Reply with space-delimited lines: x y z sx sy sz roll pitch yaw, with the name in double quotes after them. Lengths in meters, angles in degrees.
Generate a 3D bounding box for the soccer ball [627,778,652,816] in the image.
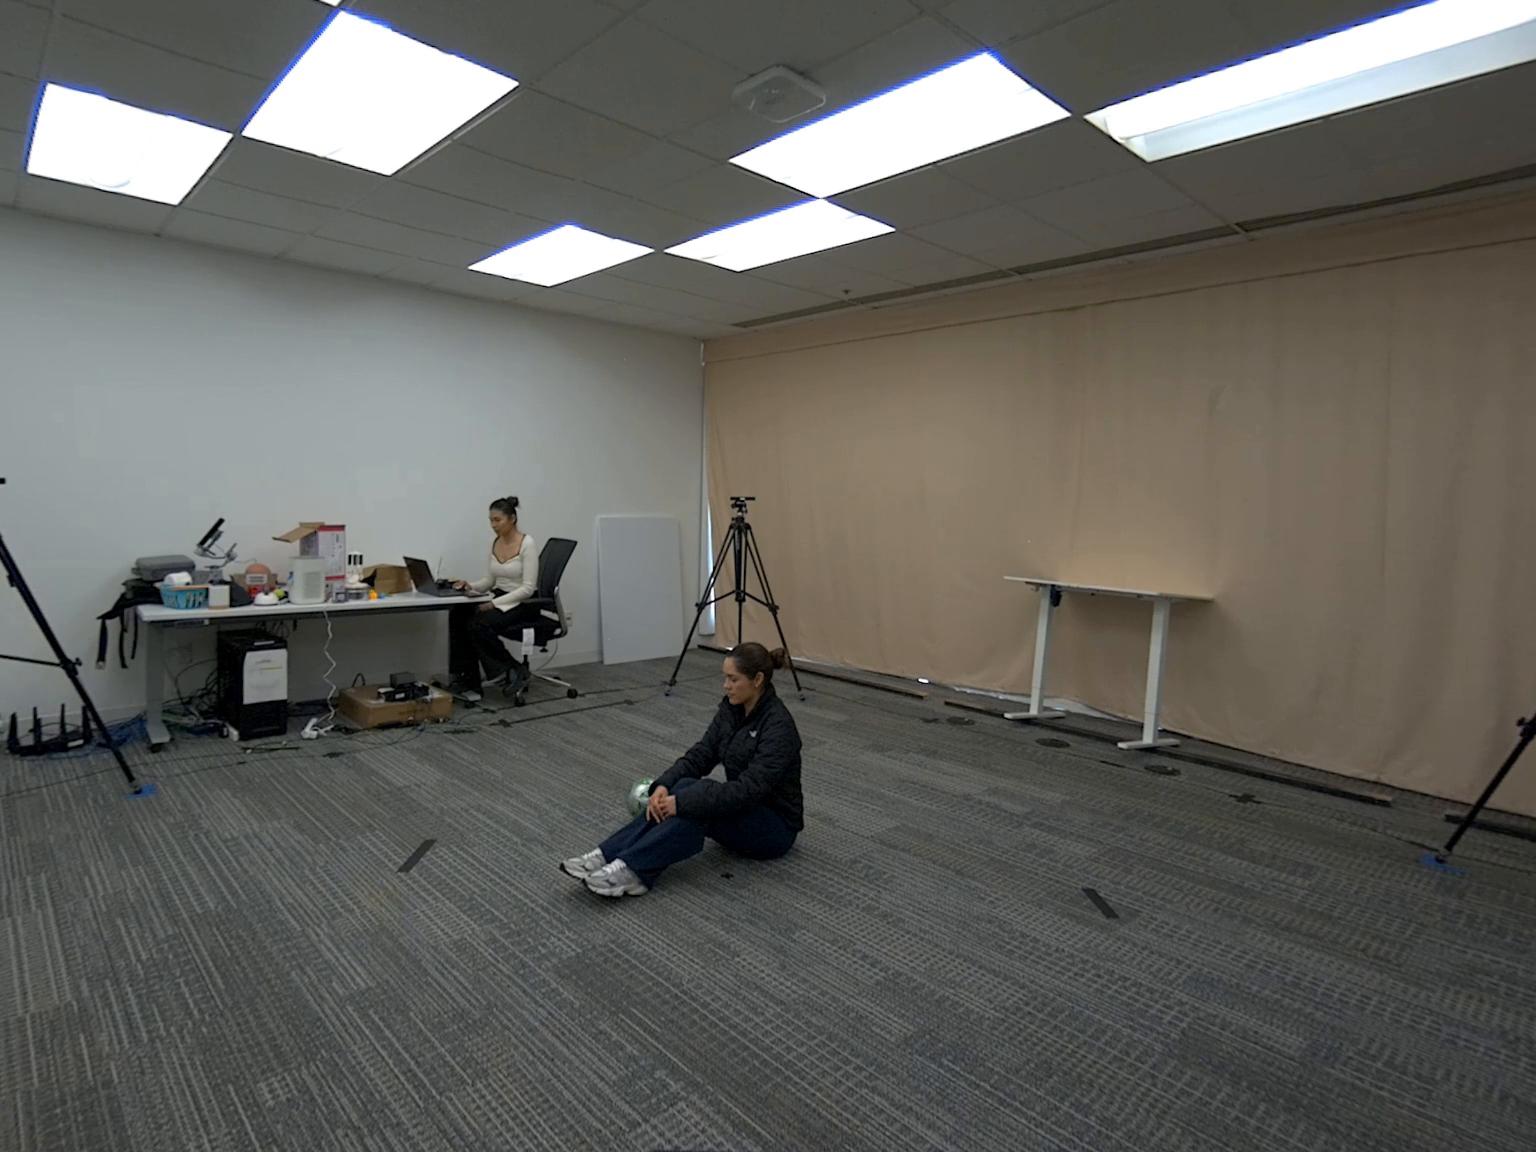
-0.513 0.957 3.603 0.187 0.186 0.188 0 7 -1 "soccer ball"
